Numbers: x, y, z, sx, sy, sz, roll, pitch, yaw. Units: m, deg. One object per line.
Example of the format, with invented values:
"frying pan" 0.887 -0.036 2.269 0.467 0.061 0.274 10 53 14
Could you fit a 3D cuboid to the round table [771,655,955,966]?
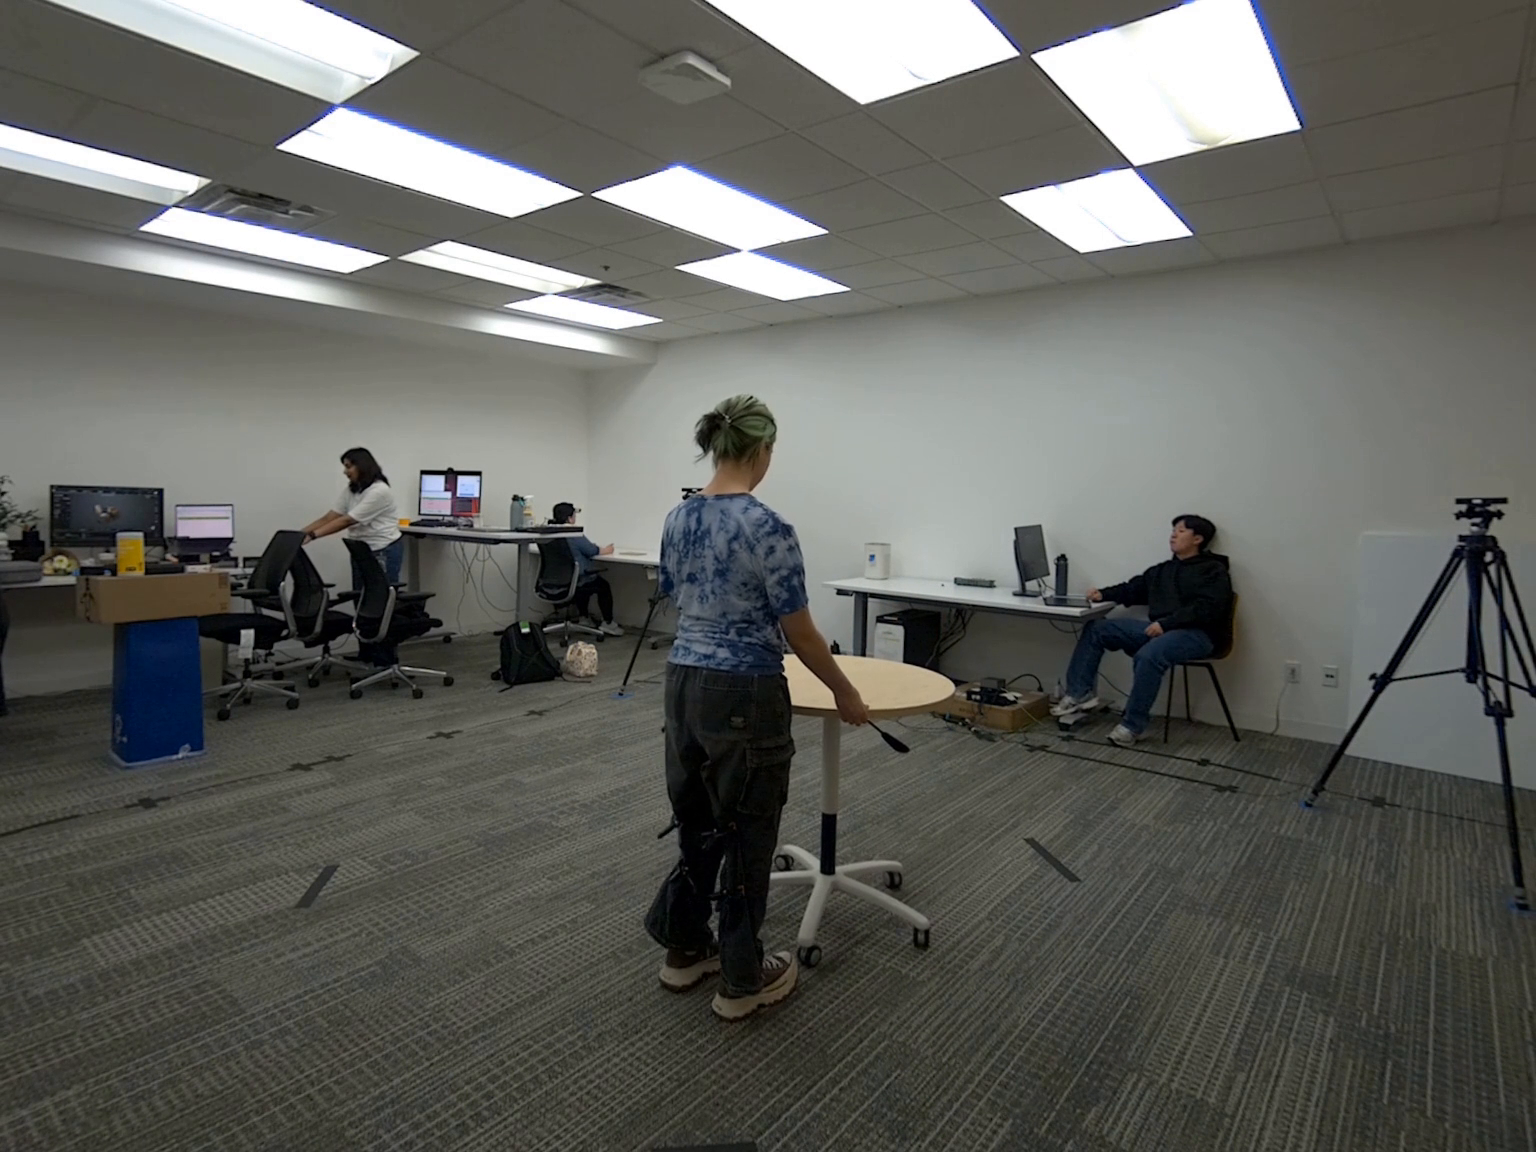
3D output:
"round table" 0.192 0.721 2.786 0.763 0.791 0.768 1 5 -2
